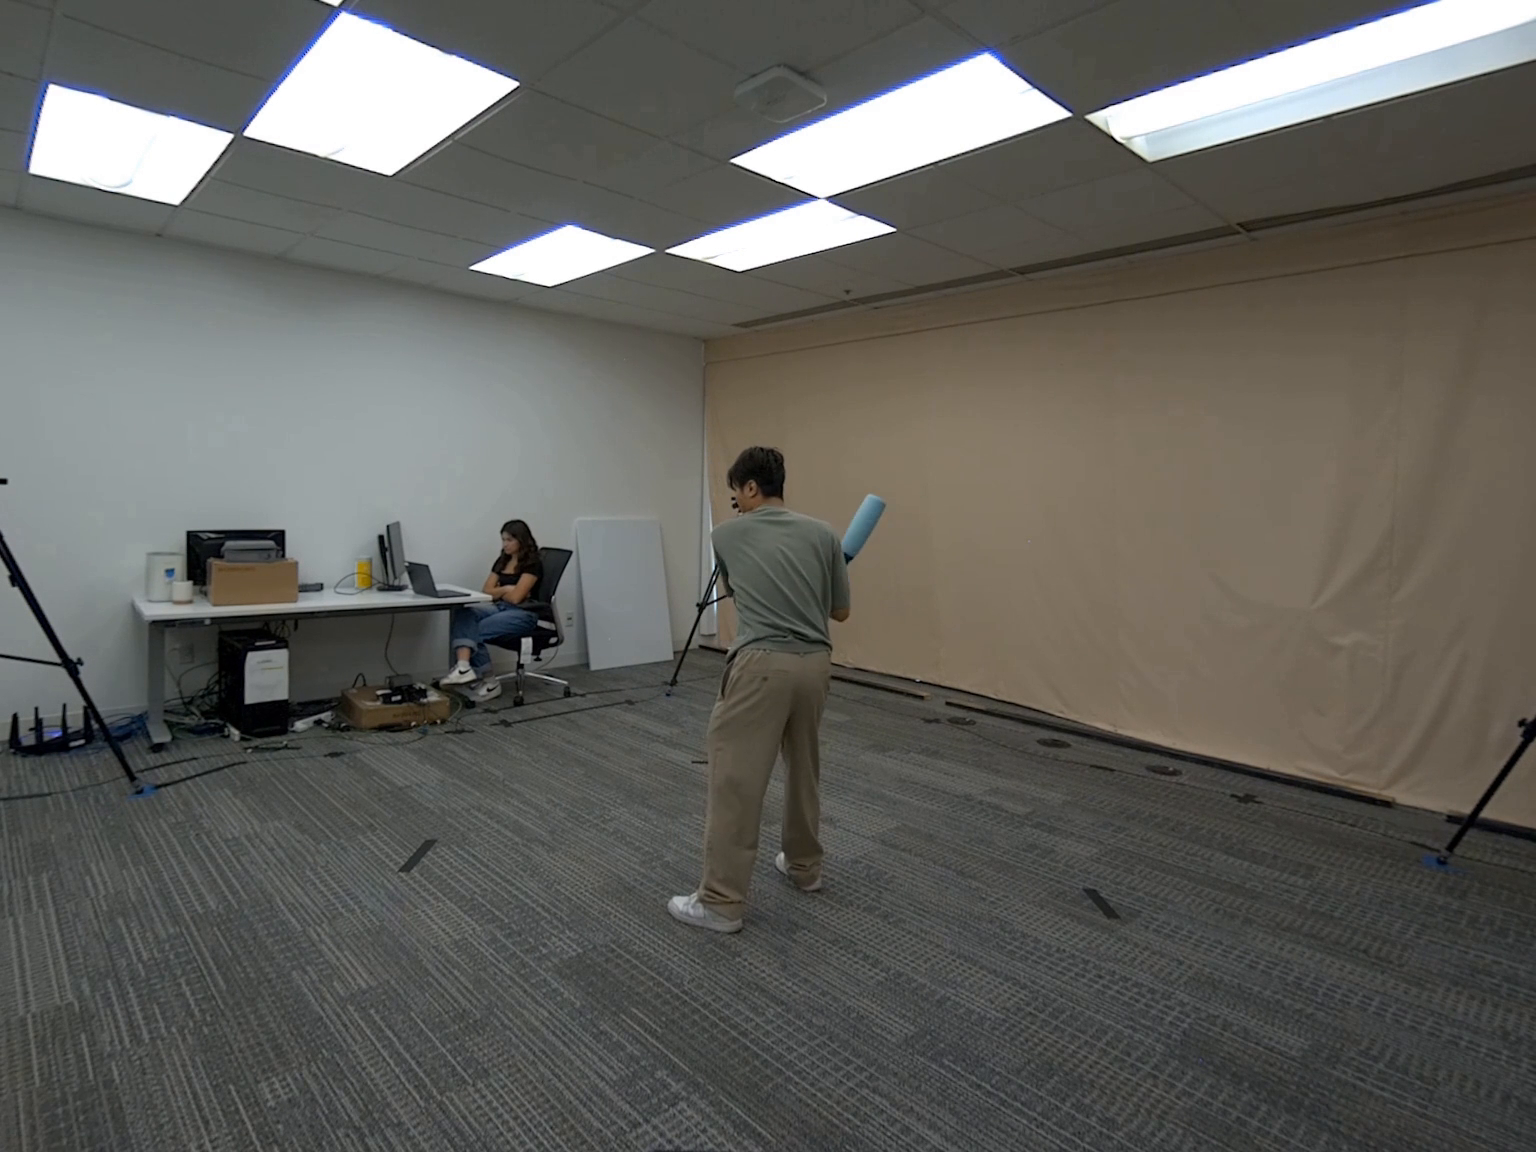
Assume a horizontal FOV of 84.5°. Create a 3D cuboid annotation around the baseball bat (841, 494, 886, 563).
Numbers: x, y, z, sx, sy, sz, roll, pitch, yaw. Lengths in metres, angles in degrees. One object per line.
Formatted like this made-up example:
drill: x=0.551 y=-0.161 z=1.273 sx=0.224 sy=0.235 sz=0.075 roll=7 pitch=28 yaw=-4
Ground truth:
baseball bat: x=0.293 y=-0.053 z=3.284 sx=0.089 sy=0.543 sz=0.089 roll=29 pitch=-1 yaw=-1
